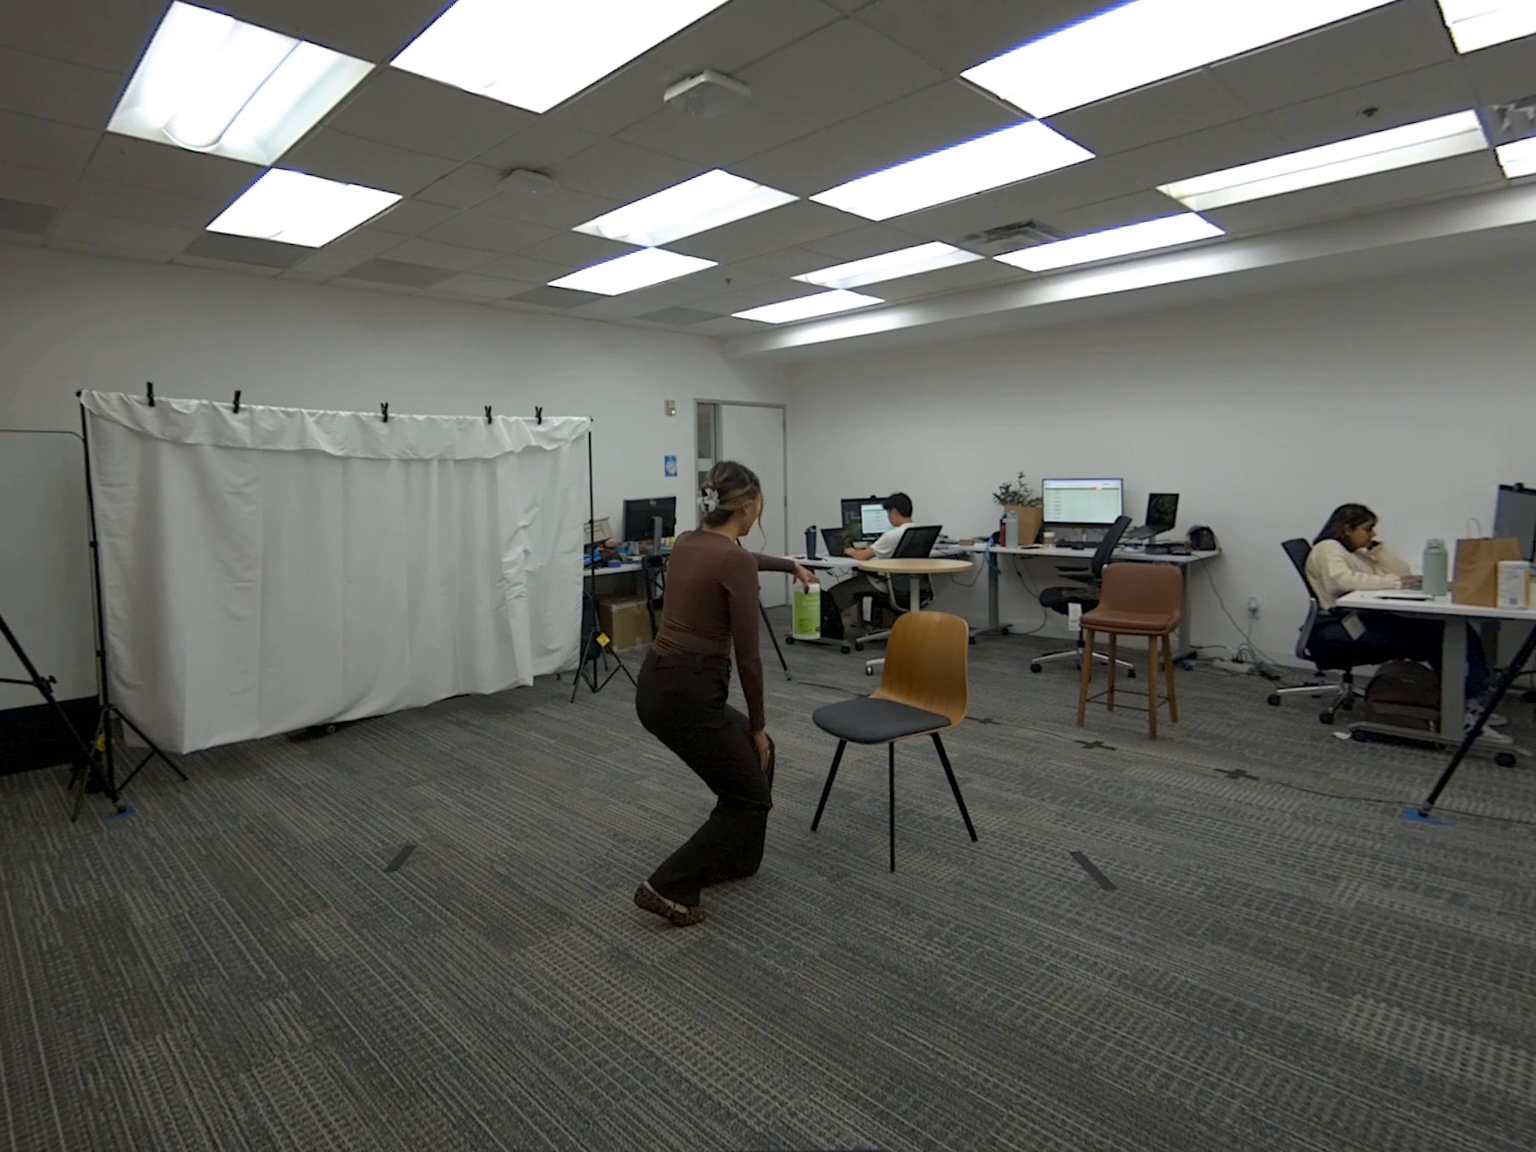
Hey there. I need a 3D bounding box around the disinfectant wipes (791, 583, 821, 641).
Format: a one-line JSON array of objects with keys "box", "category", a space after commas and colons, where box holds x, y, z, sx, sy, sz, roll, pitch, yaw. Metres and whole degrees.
[{"box": [0.154, 0.139, 3.374, 0.118, 0.217, 0.118, -1, 4, -2], "category": "disinfectant wipes"}]
